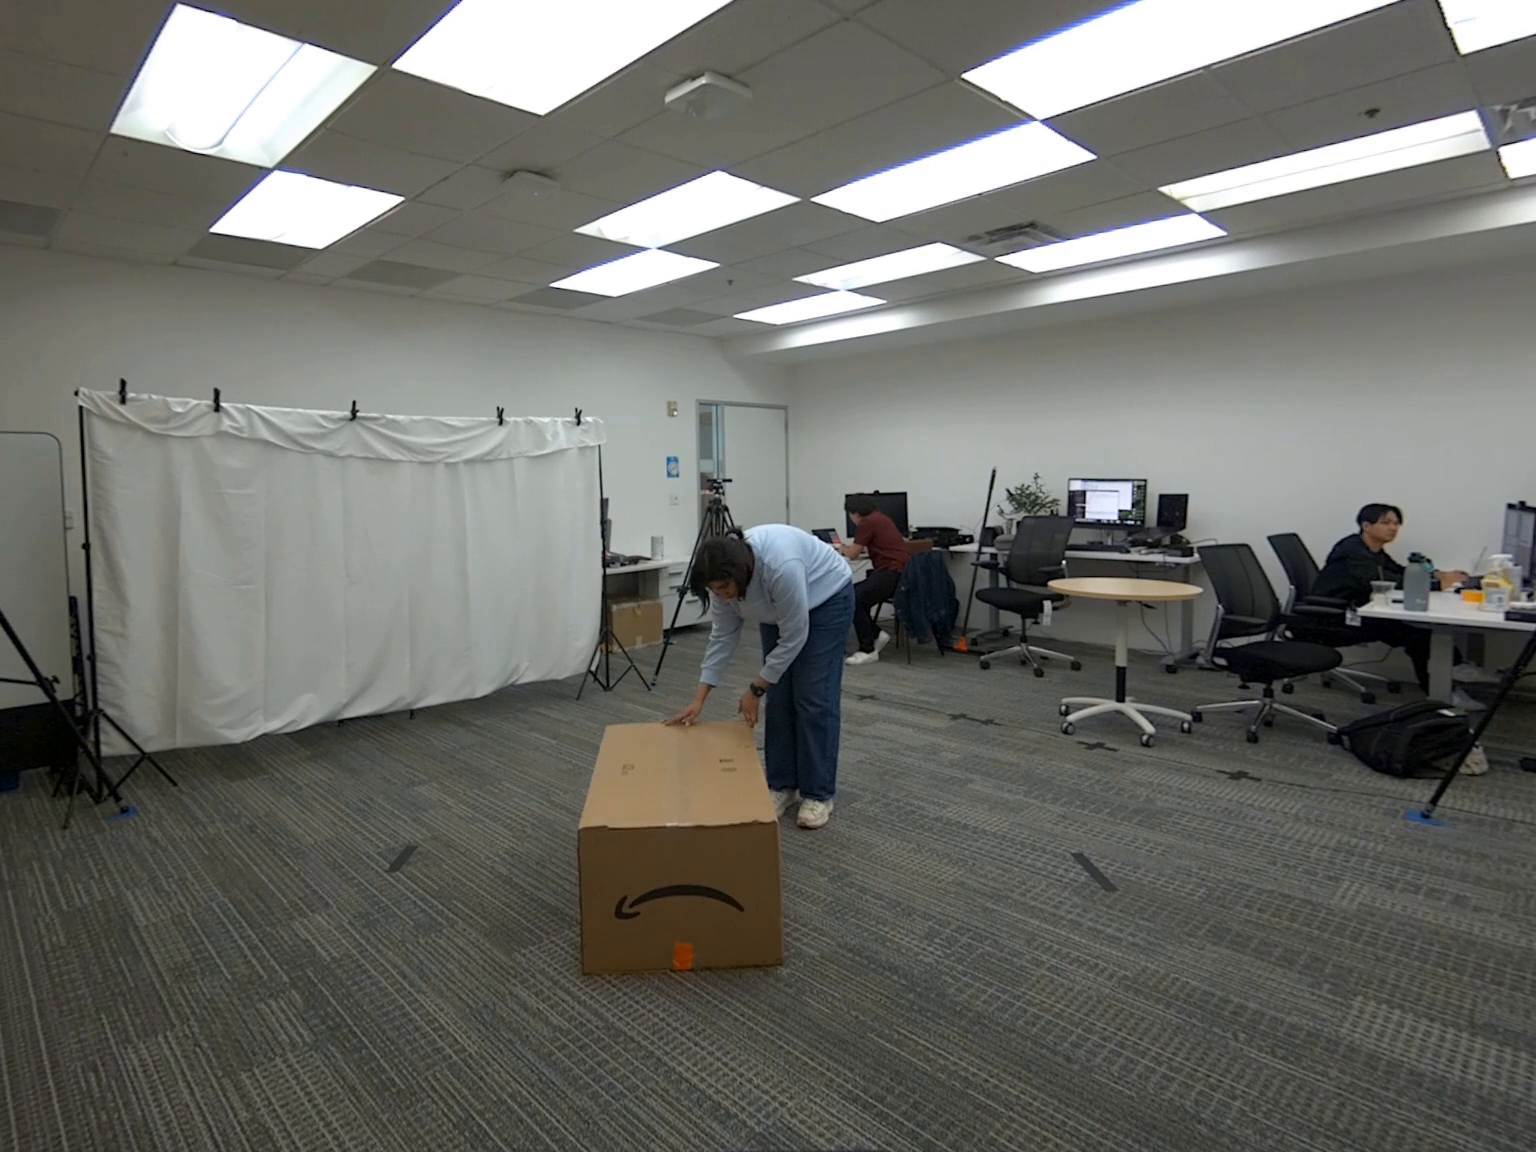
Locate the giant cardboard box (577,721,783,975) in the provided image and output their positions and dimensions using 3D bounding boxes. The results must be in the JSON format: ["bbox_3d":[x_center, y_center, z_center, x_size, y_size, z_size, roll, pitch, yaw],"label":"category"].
[{"bbox_3d":[-0.300,0.858,2.923,0.575,0.424,1.034,-2,6,-5],"label":"giant cardboard box"}]
